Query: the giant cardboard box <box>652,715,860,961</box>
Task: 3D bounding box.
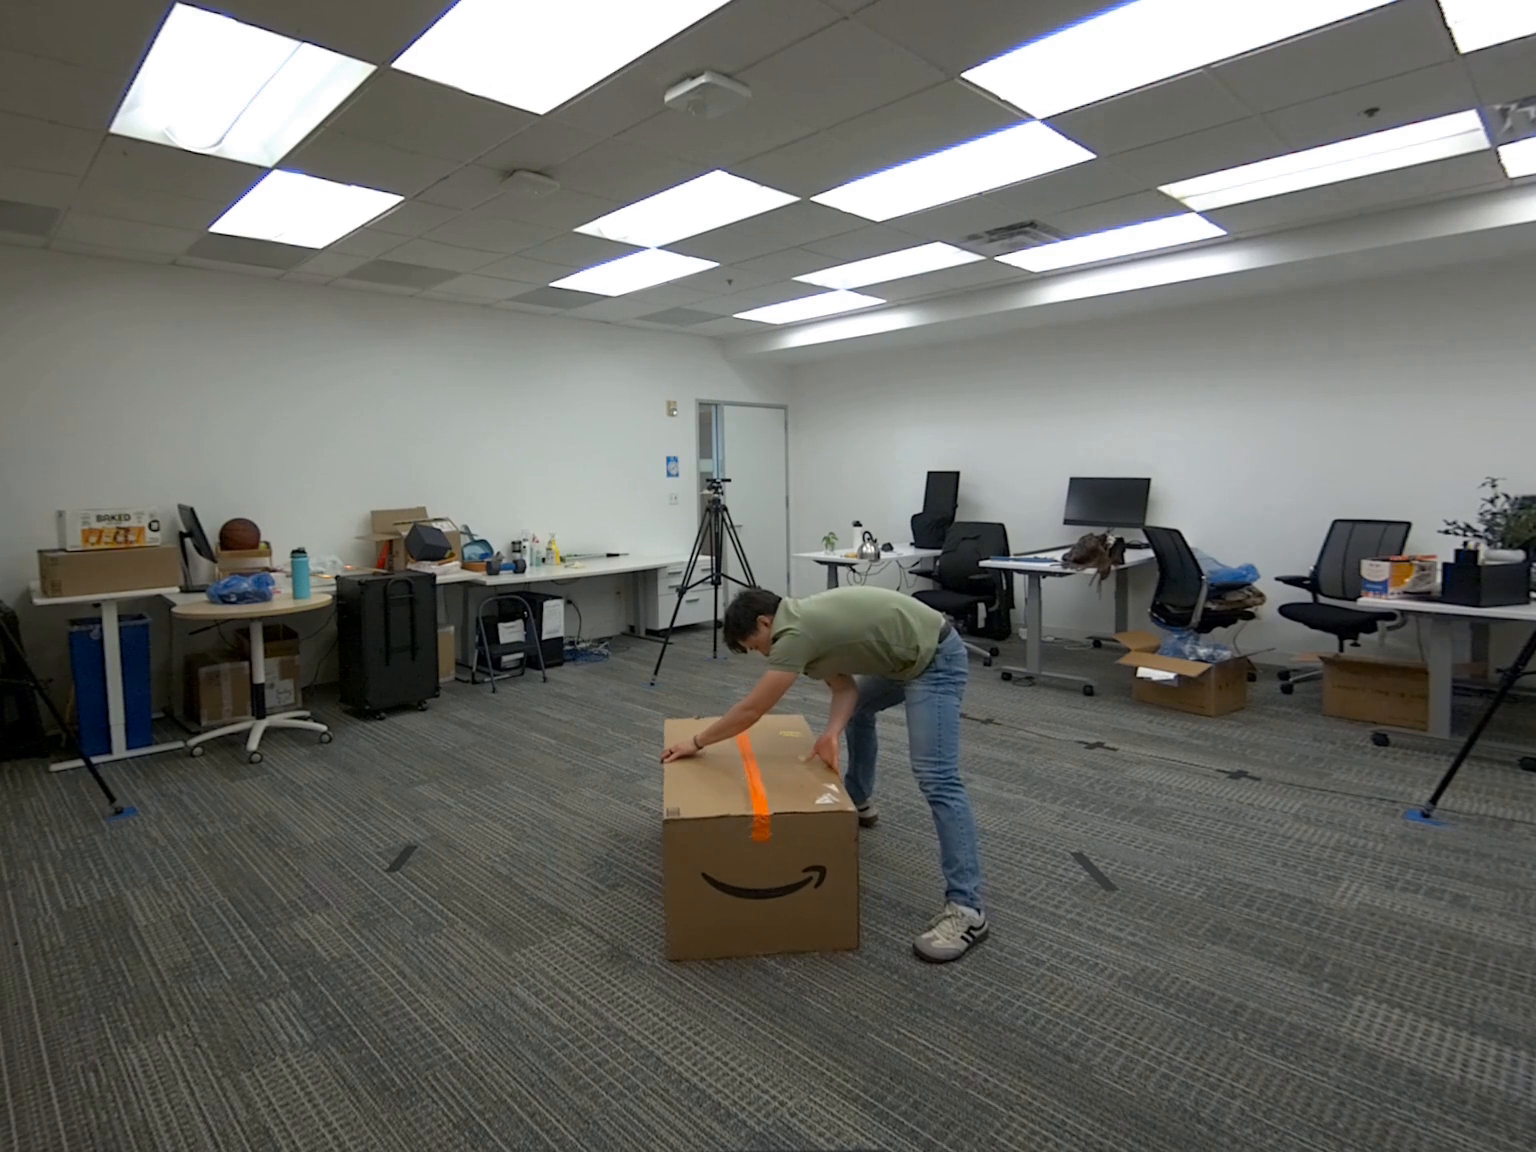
[{"bbox_3d":[-0.082,0.843,2.997,0.574,0.424,1.035,-1,6,-6],"label":"giant cardboard box"}]
